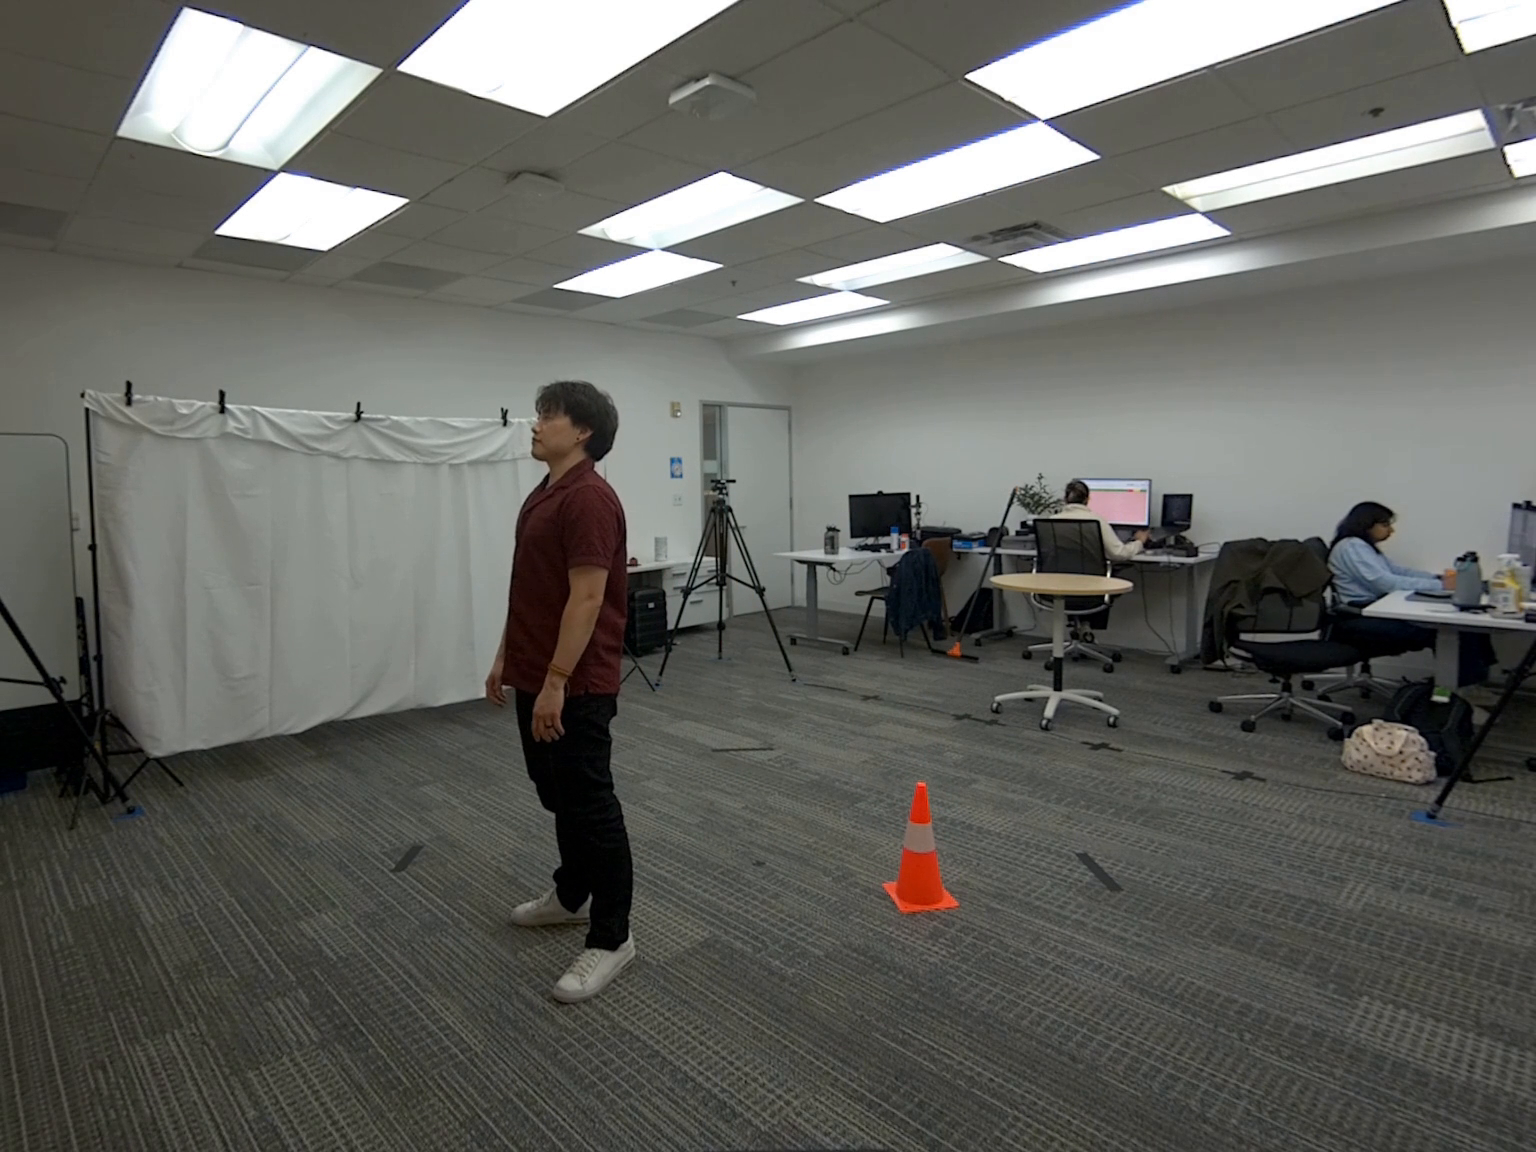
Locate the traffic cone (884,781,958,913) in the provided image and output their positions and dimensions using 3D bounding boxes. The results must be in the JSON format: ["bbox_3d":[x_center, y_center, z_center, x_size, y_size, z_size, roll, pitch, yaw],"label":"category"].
[{"bbox_3d":[0.505,0.880,2.844,0.203,0.382,0.206,-3,3,-12],"label":"traffic cone"}]
